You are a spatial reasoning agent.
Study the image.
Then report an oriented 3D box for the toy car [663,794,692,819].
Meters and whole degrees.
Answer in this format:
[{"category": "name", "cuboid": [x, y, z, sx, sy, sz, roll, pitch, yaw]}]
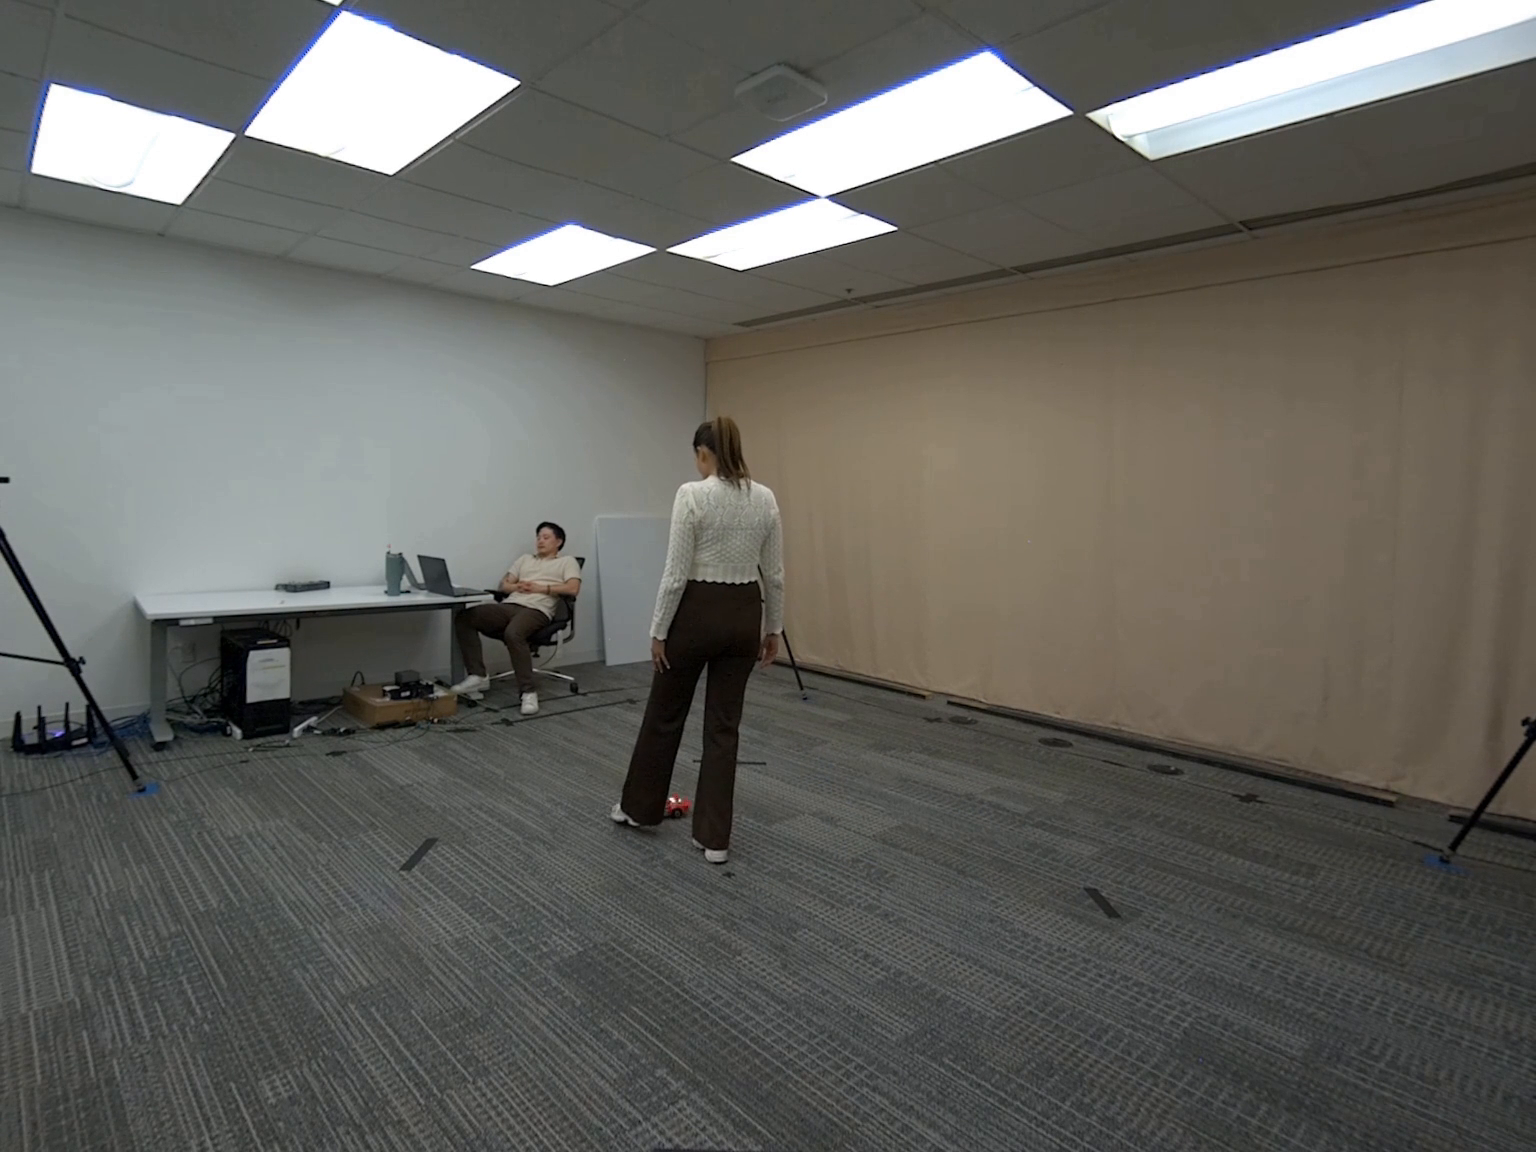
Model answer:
[{"category": "toy car", "cuboid": [-0.466, 1.016, 3.667, 0.252, 0.083, 0.132, -12, 7, -18]}]
